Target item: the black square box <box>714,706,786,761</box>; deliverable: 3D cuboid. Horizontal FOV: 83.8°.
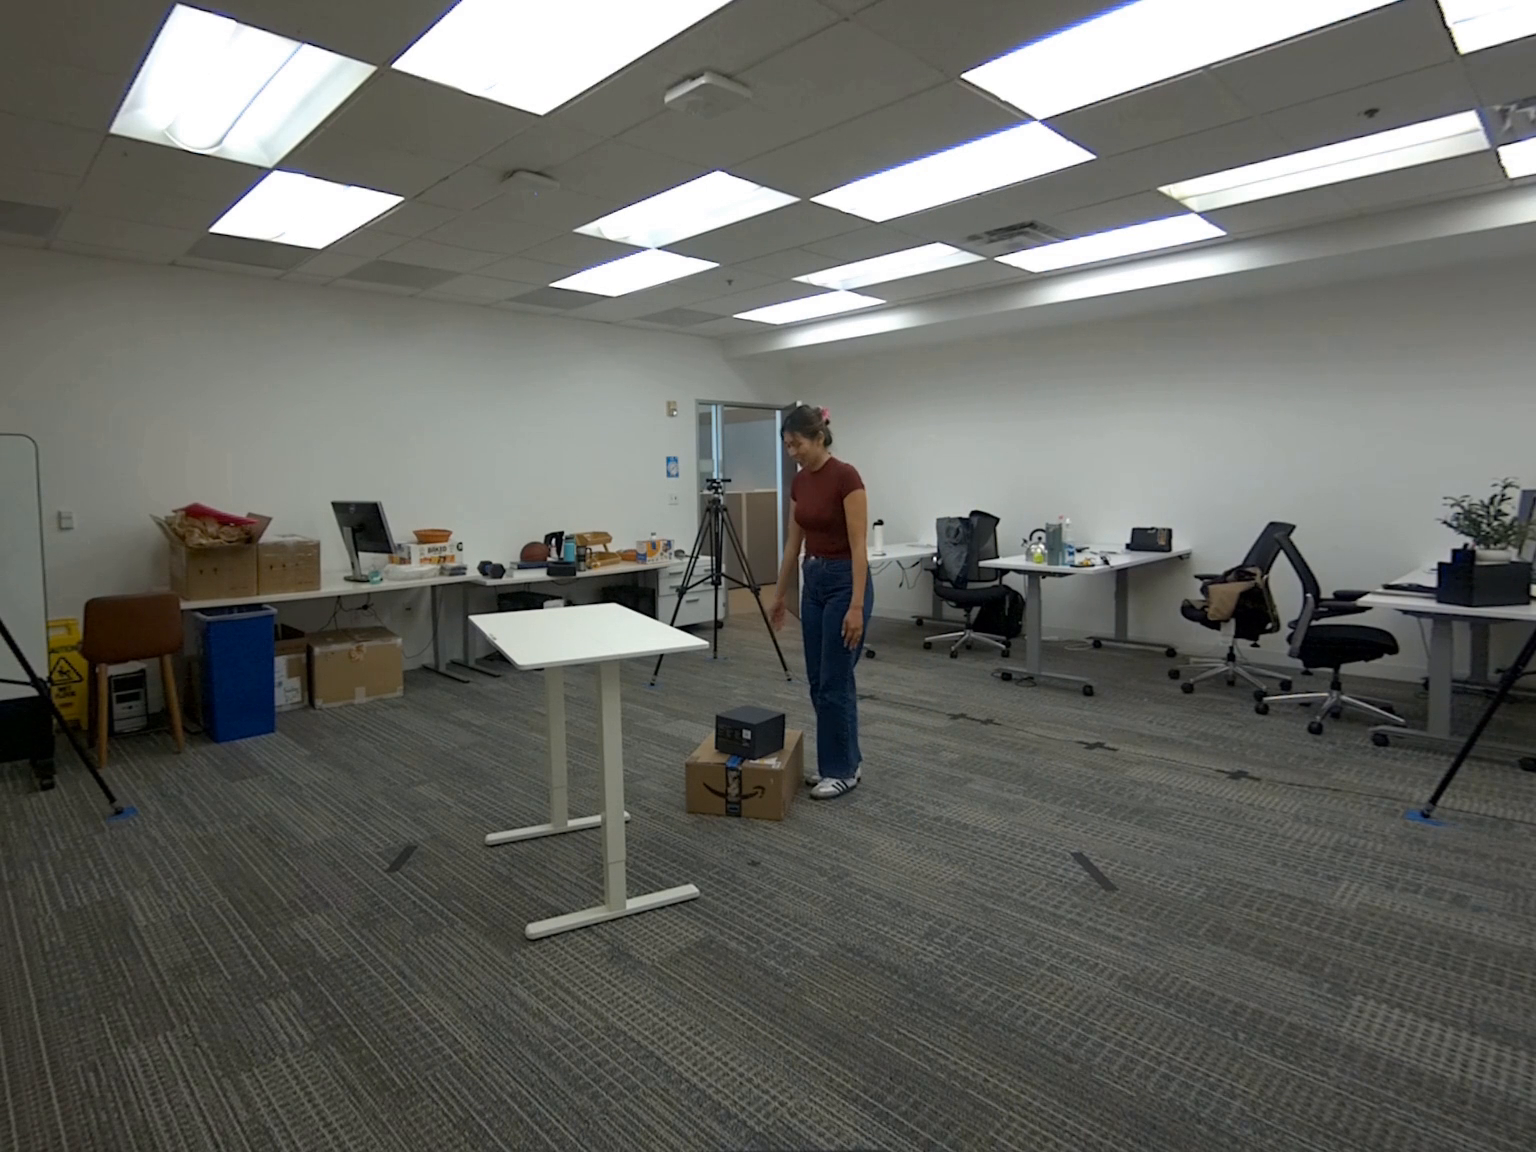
[{"bbox_3d":[-0.078,0.672,3.720,0.223,0.155,0.222,5,6,36],"label":"black square box"}]
